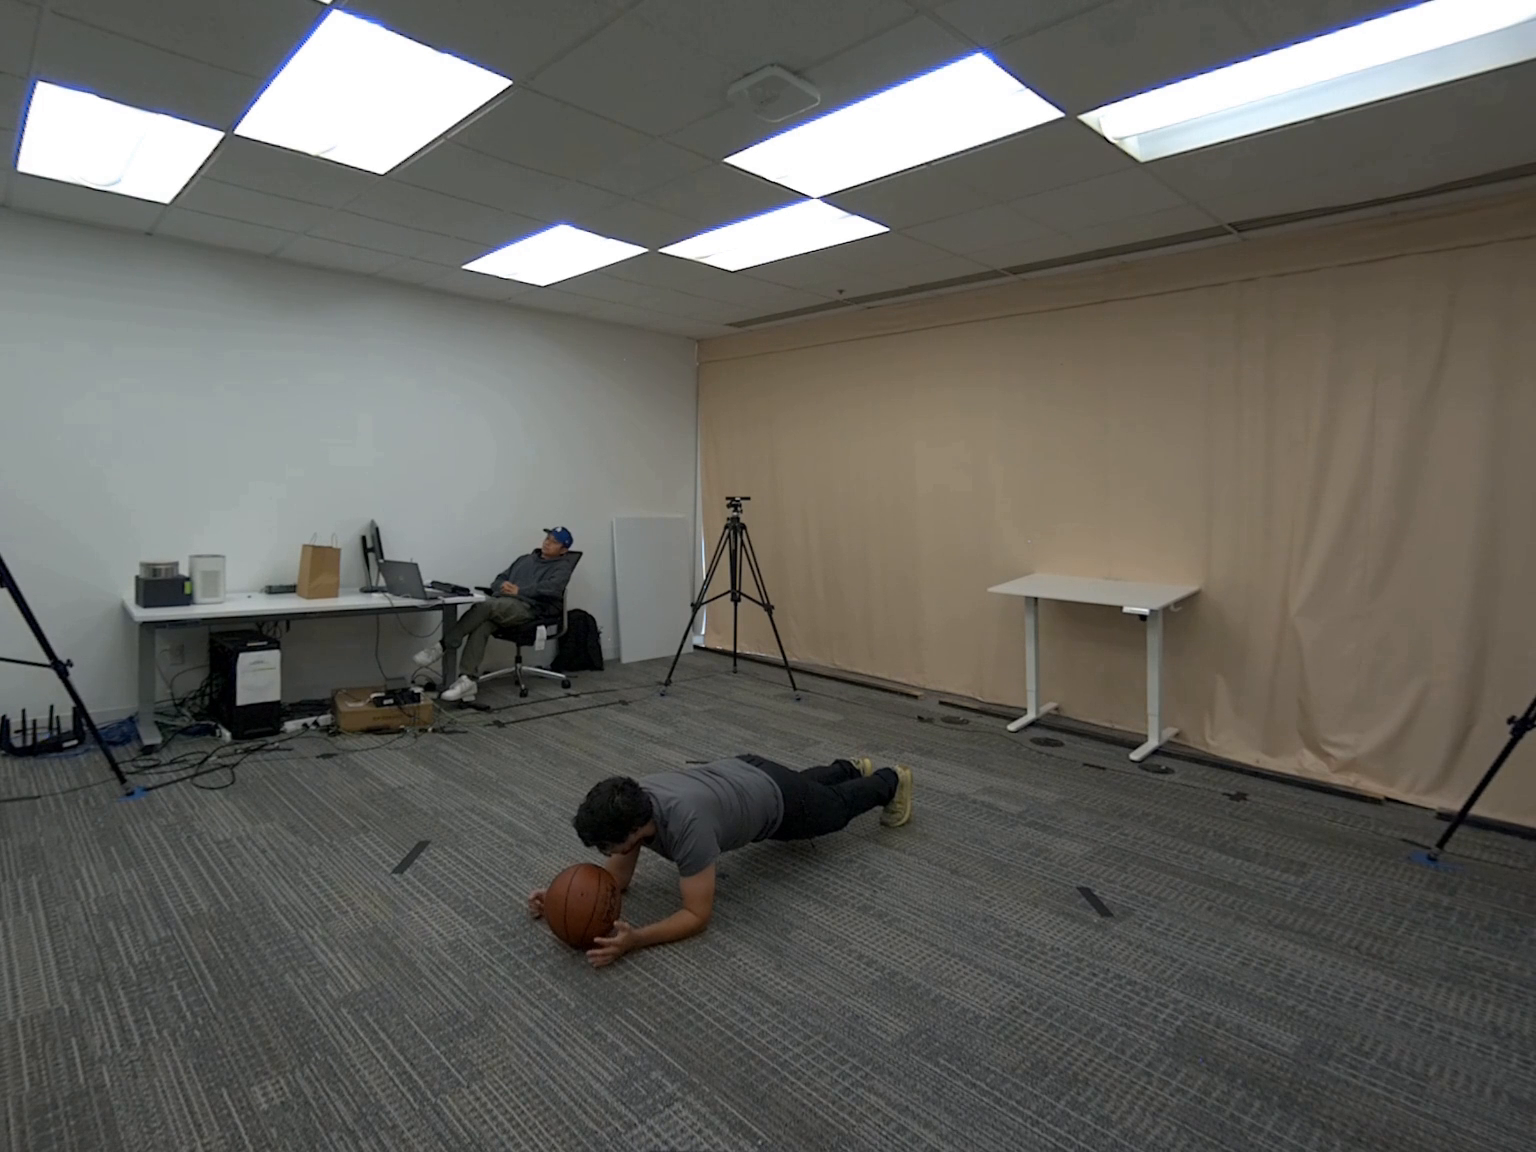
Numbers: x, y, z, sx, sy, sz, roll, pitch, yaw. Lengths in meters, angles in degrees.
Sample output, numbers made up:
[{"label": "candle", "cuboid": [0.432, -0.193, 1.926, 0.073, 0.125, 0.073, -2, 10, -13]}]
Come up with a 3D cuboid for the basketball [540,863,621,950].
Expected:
[{"label": "basketball", "cuboid": [-0.578, 1.024, 2.615, 0.236, 0.235, 0.237, 1, 4, -1]}]
